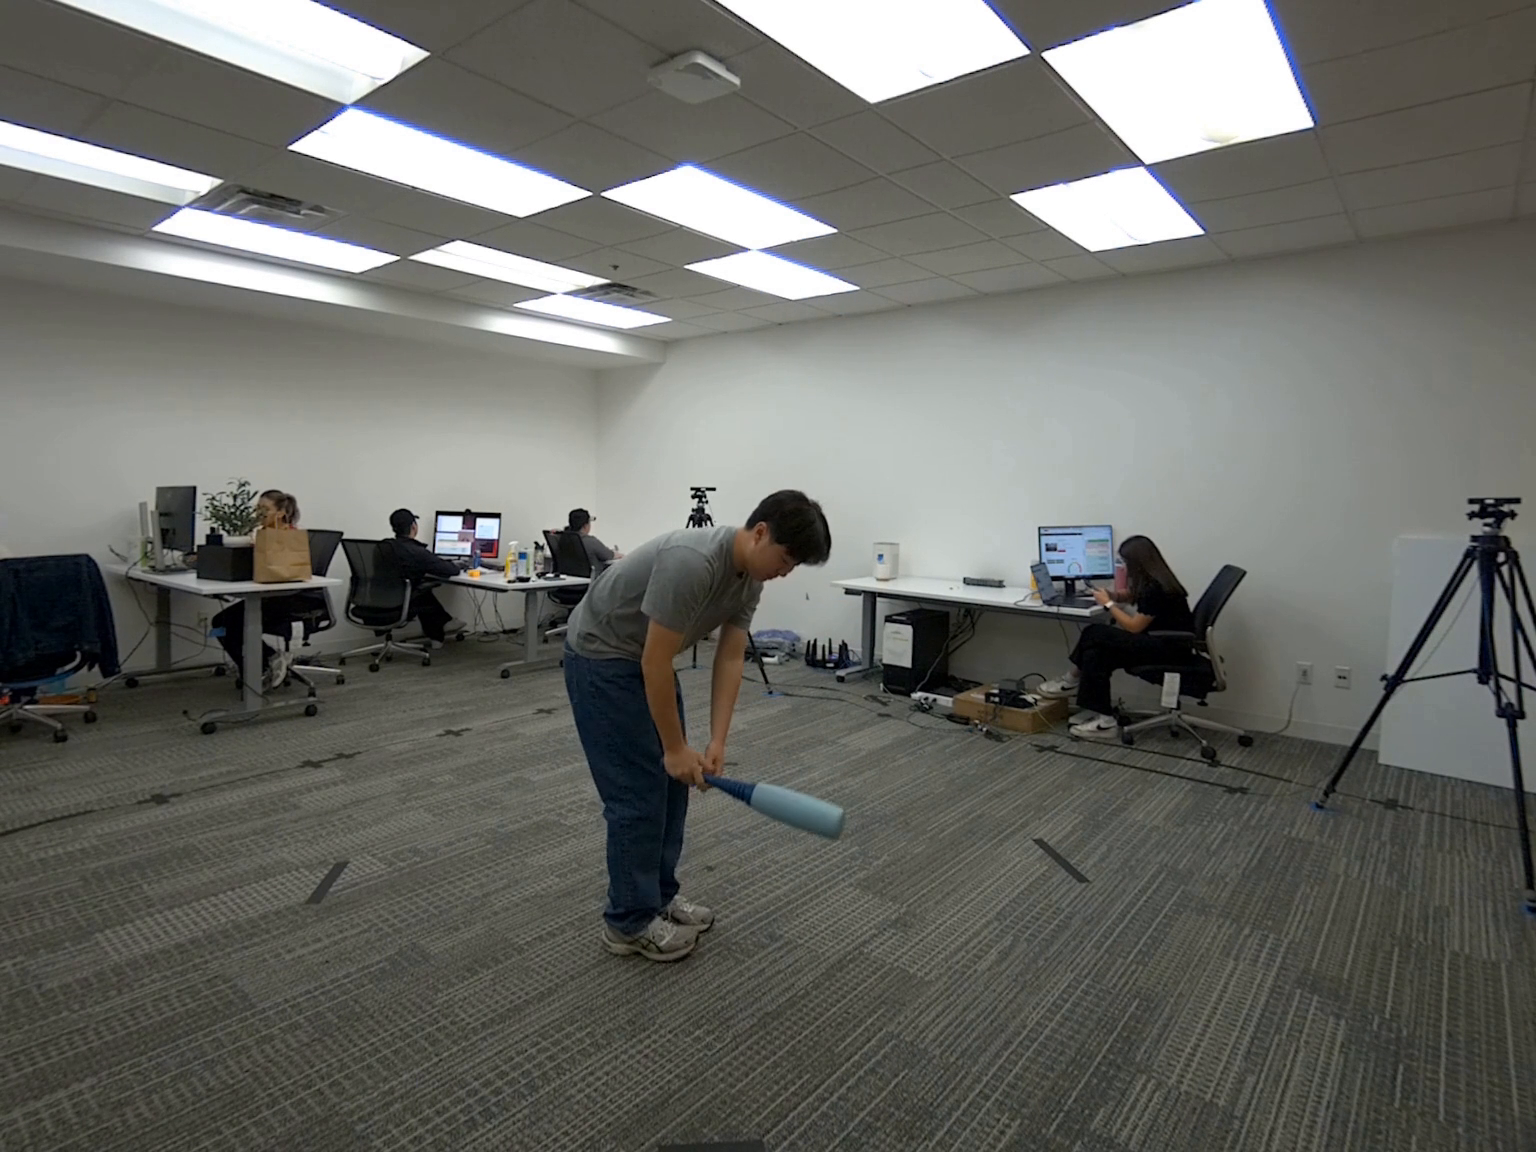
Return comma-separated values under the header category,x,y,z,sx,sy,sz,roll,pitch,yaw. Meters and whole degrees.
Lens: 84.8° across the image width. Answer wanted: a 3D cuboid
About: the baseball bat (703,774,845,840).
category,x,y,z,sx,sy,sz,roll,pitch,yaw
baseball bat,-0.070,0.613,2.339,0.556,0.088,0.087,12,7,20
